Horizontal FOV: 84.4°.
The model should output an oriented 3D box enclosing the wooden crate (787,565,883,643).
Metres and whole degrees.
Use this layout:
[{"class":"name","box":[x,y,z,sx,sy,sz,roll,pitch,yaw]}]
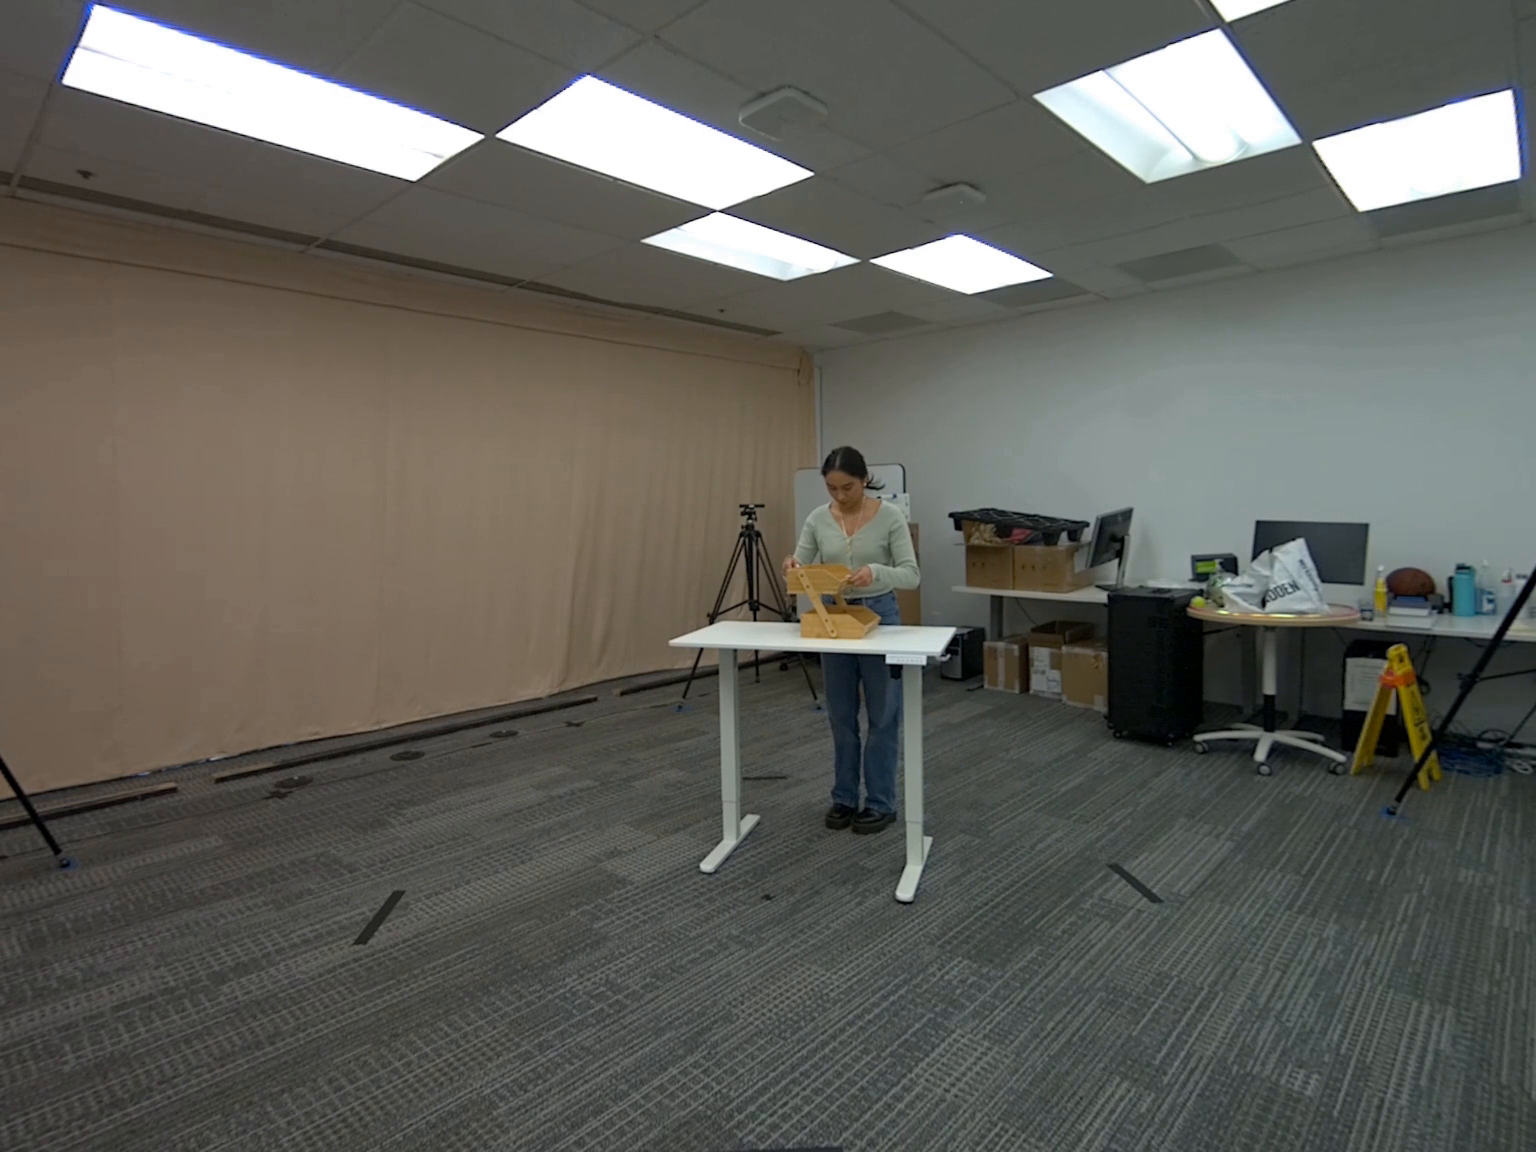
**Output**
[{"class":"wooden crate","box":[0.266,0.089,3.301,0.308,0.273,0.319,0,4,18]}]
